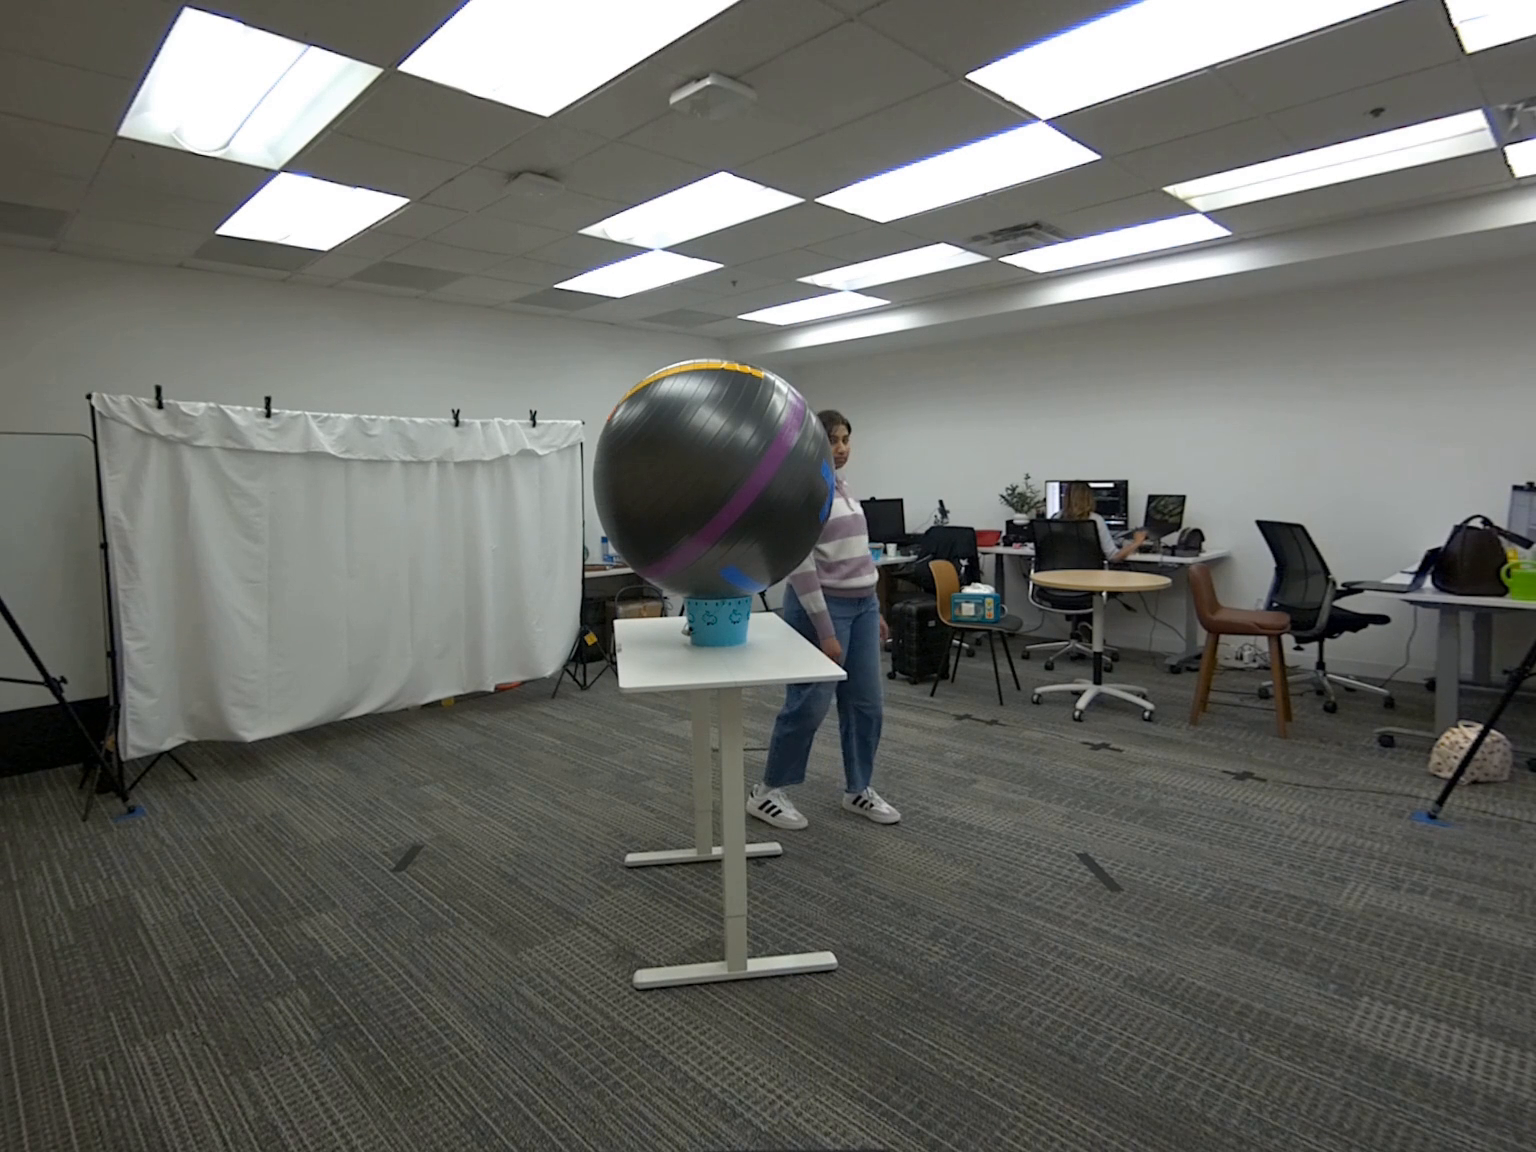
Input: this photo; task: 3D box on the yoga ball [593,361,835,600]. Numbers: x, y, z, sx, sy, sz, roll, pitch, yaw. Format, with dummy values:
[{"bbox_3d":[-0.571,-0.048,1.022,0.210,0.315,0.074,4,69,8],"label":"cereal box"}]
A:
[{"bbox_3d":[-0.173,-0.296,2.691,0.757,0.755,0.762,-1,5,-2],"label":"yoga ball"}]
